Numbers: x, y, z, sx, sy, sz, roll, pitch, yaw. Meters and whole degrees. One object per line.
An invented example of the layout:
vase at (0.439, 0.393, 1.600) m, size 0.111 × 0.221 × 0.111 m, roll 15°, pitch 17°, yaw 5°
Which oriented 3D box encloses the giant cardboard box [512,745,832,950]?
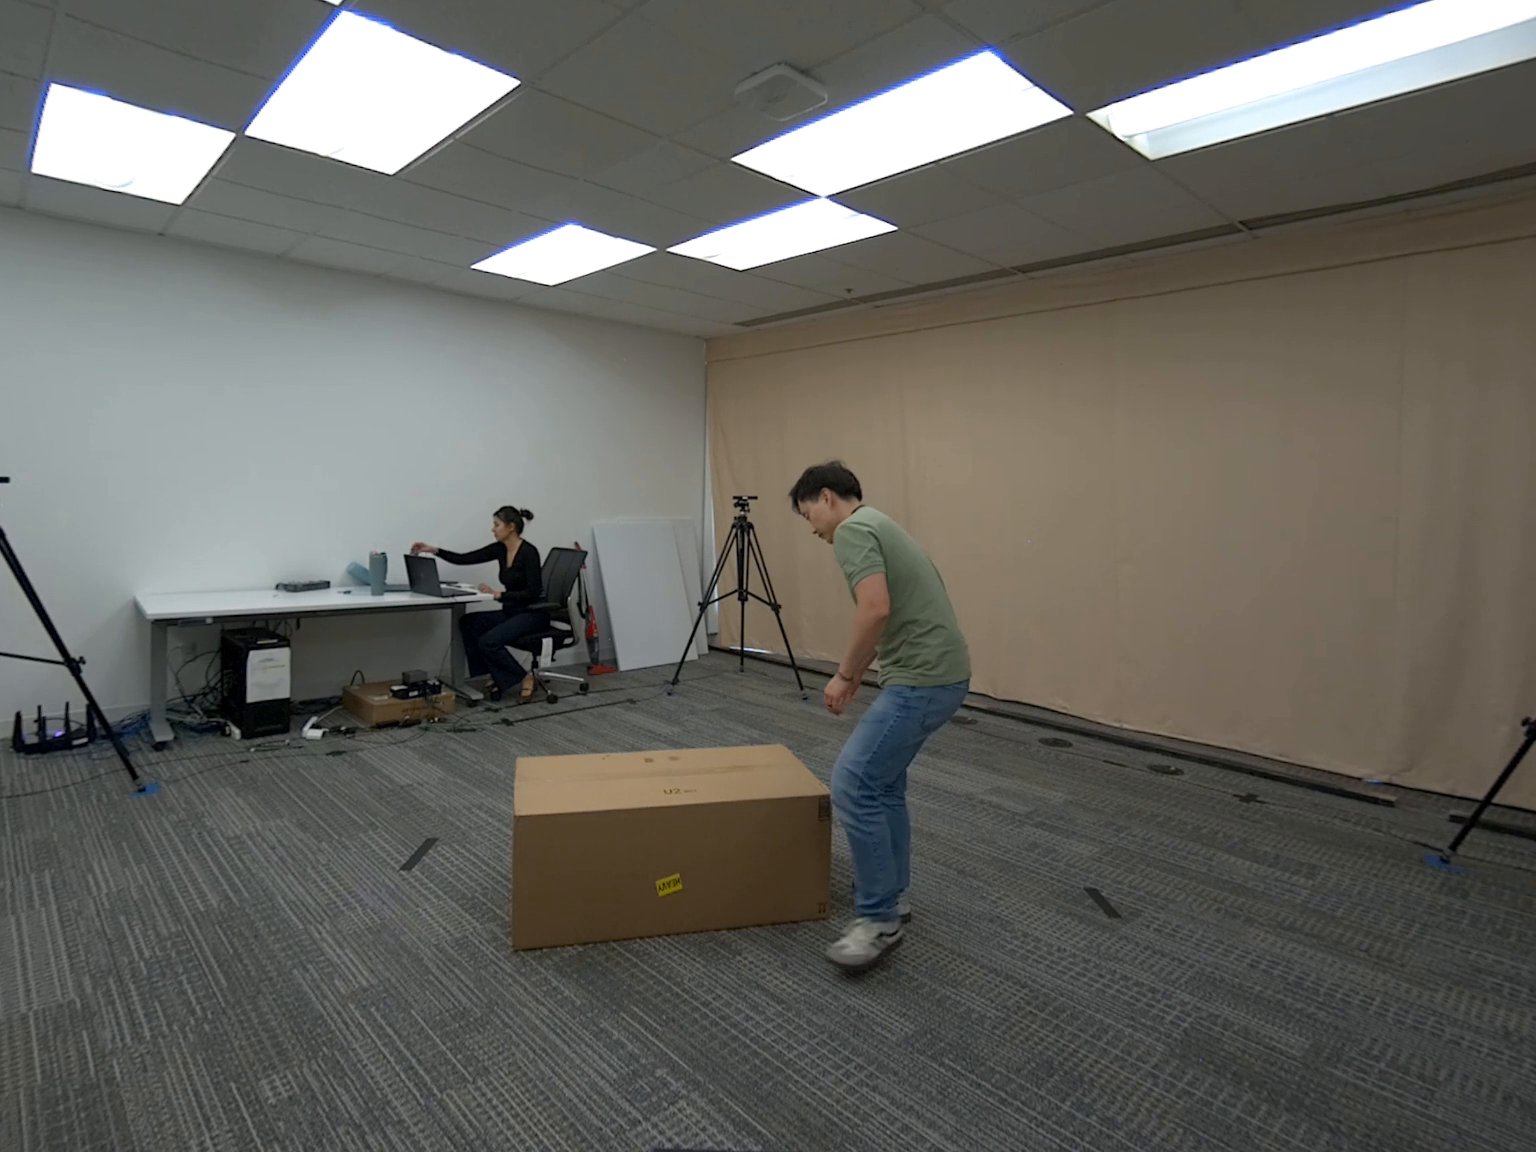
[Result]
giant cardboard box at (-0.363, 0.899, 2.934) m, size 1.014 × 0.425 × 0.586 m, roll 0°, pitch 4°, yaw -15°
